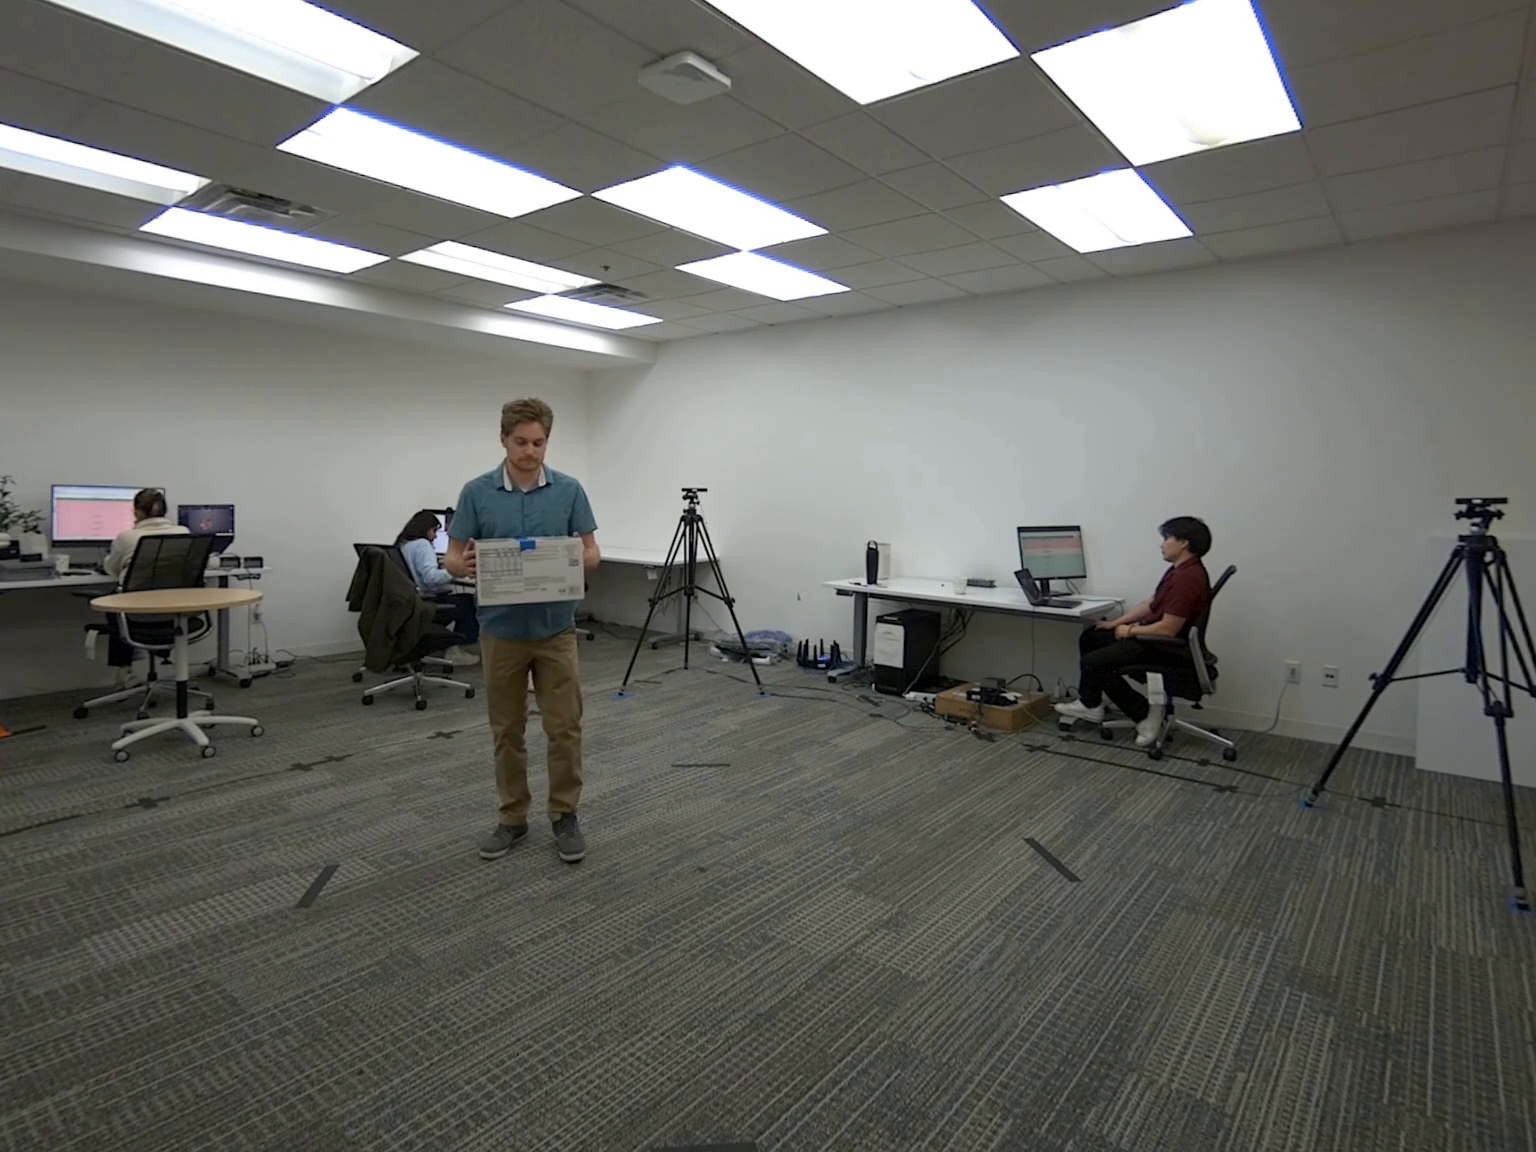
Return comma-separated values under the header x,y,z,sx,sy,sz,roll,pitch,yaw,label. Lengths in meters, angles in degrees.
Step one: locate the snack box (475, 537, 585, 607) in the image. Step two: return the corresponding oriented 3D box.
x,y,z,sx,sy,sz,roll,pitch,yaw,label
-0.851,-0.030,2.940,0.335,0.205,0.413,-4,5,-17,snack box
